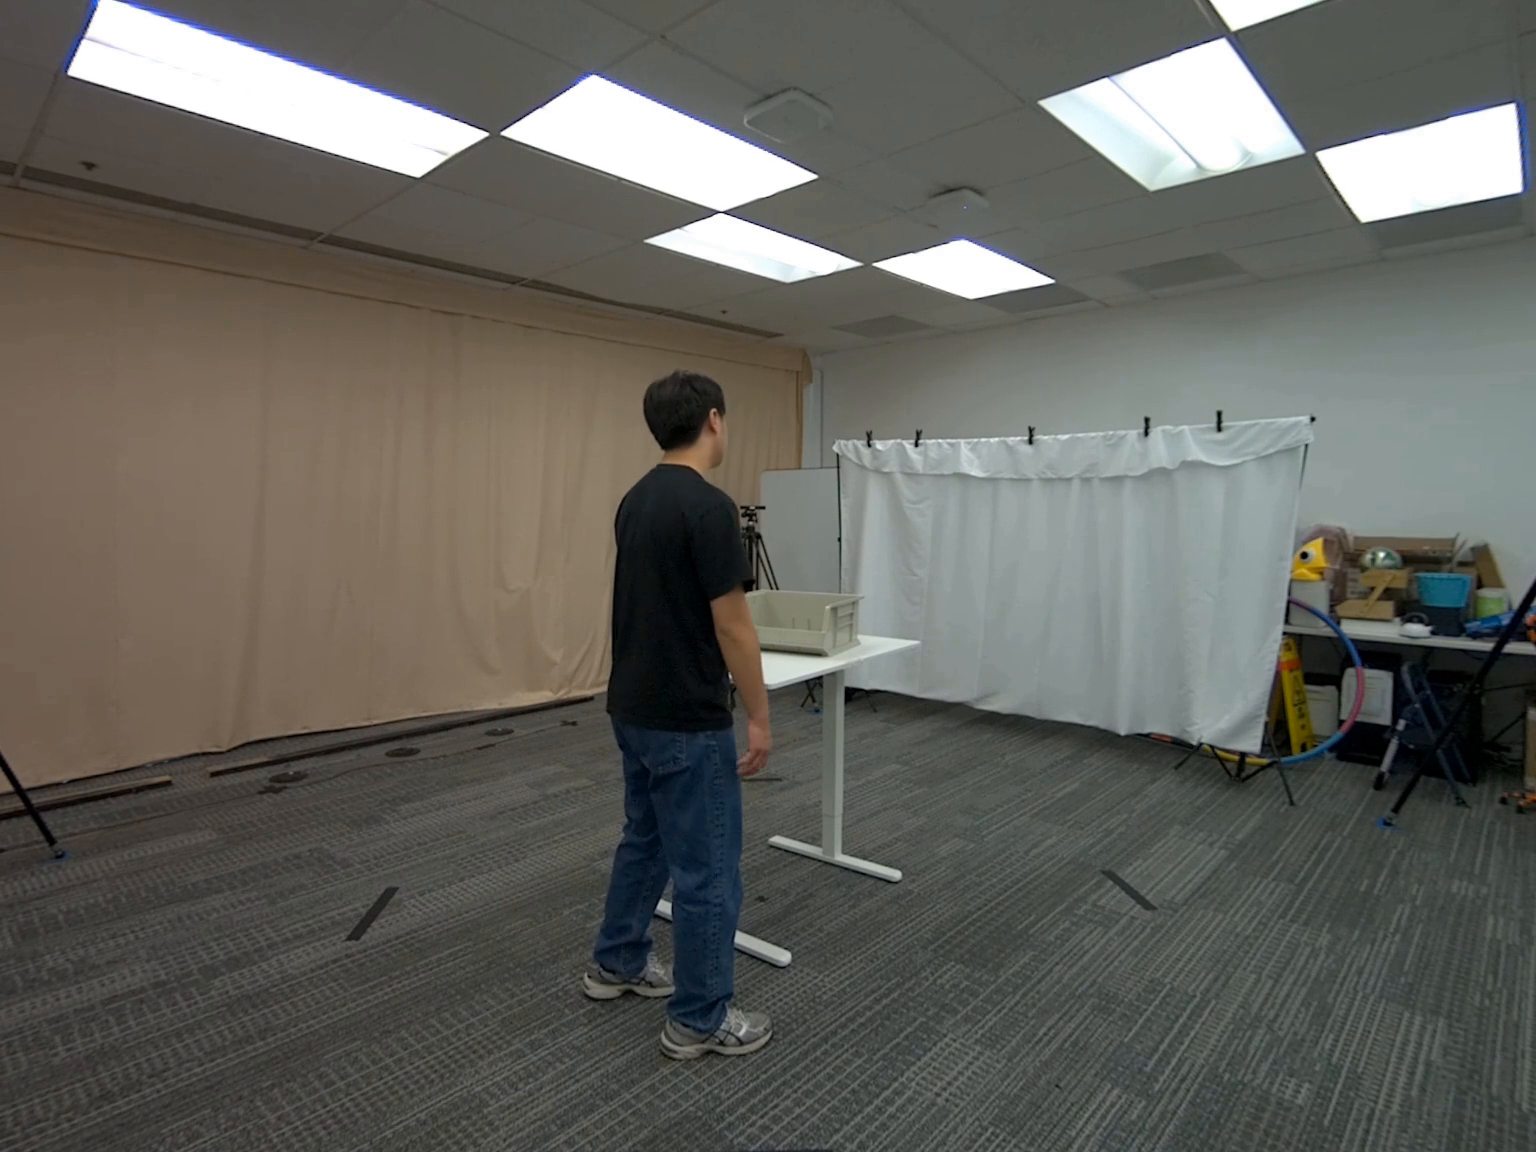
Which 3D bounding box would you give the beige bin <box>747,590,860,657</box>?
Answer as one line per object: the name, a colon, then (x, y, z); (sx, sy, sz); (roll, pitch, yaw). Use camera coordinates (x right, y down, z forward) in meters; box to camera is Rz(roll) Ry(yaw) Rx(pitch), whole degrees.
beige bin: (0.088, 0.170, 3.051); (0.434, 0.189, 0.368); (2, 4, 27)
